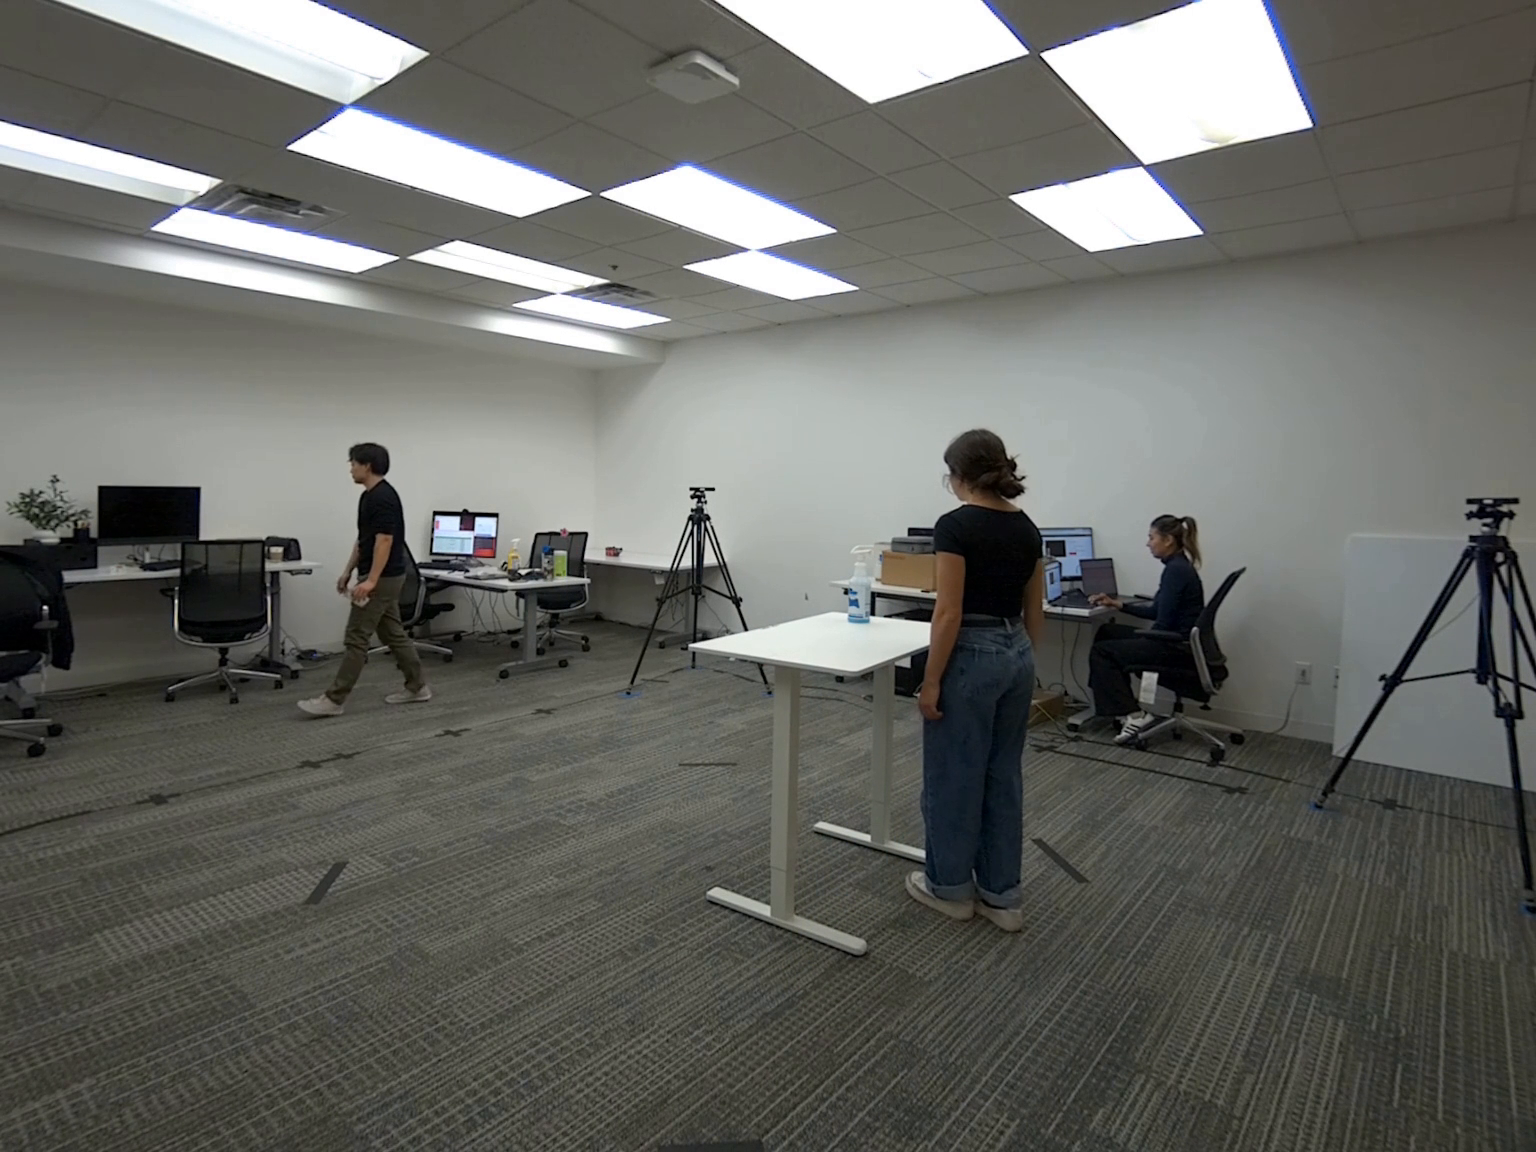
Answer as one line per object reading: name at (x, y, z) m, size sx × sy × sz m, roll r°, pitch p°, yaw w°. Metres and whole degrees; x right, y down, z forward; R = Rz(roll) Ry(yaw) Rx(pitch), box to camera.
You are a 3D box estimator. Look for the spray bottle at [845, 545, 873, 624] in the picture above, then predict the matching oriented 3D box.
spray bottle at (0.350, 0.032, 3.314) m, size 0.092 × 0.297 × 0.085 m, roll 3°, pitch 0°, yaw 17°
